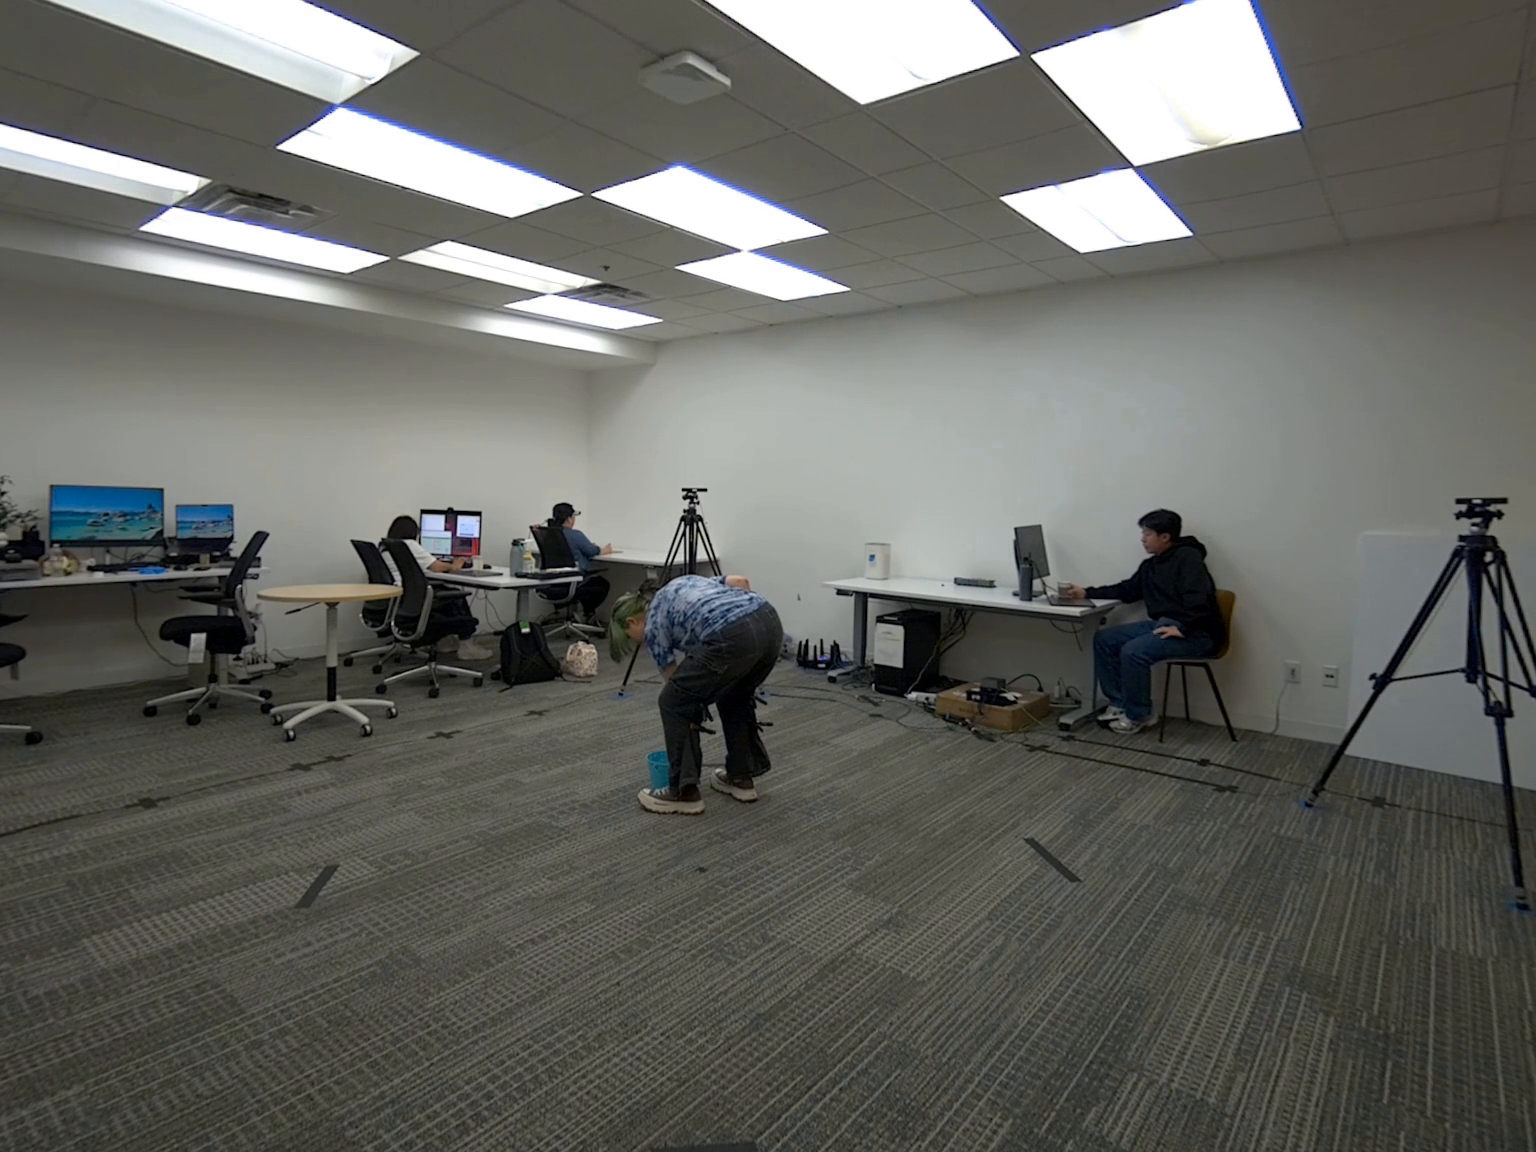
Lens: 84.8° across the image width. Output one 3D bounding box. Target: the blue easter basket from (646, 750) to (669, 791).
[{"bbox_3d":[-0.458,0.904,3.927,0.243,0.155,0.245,-1,5,-2],"label":"blue easter basket"}]
